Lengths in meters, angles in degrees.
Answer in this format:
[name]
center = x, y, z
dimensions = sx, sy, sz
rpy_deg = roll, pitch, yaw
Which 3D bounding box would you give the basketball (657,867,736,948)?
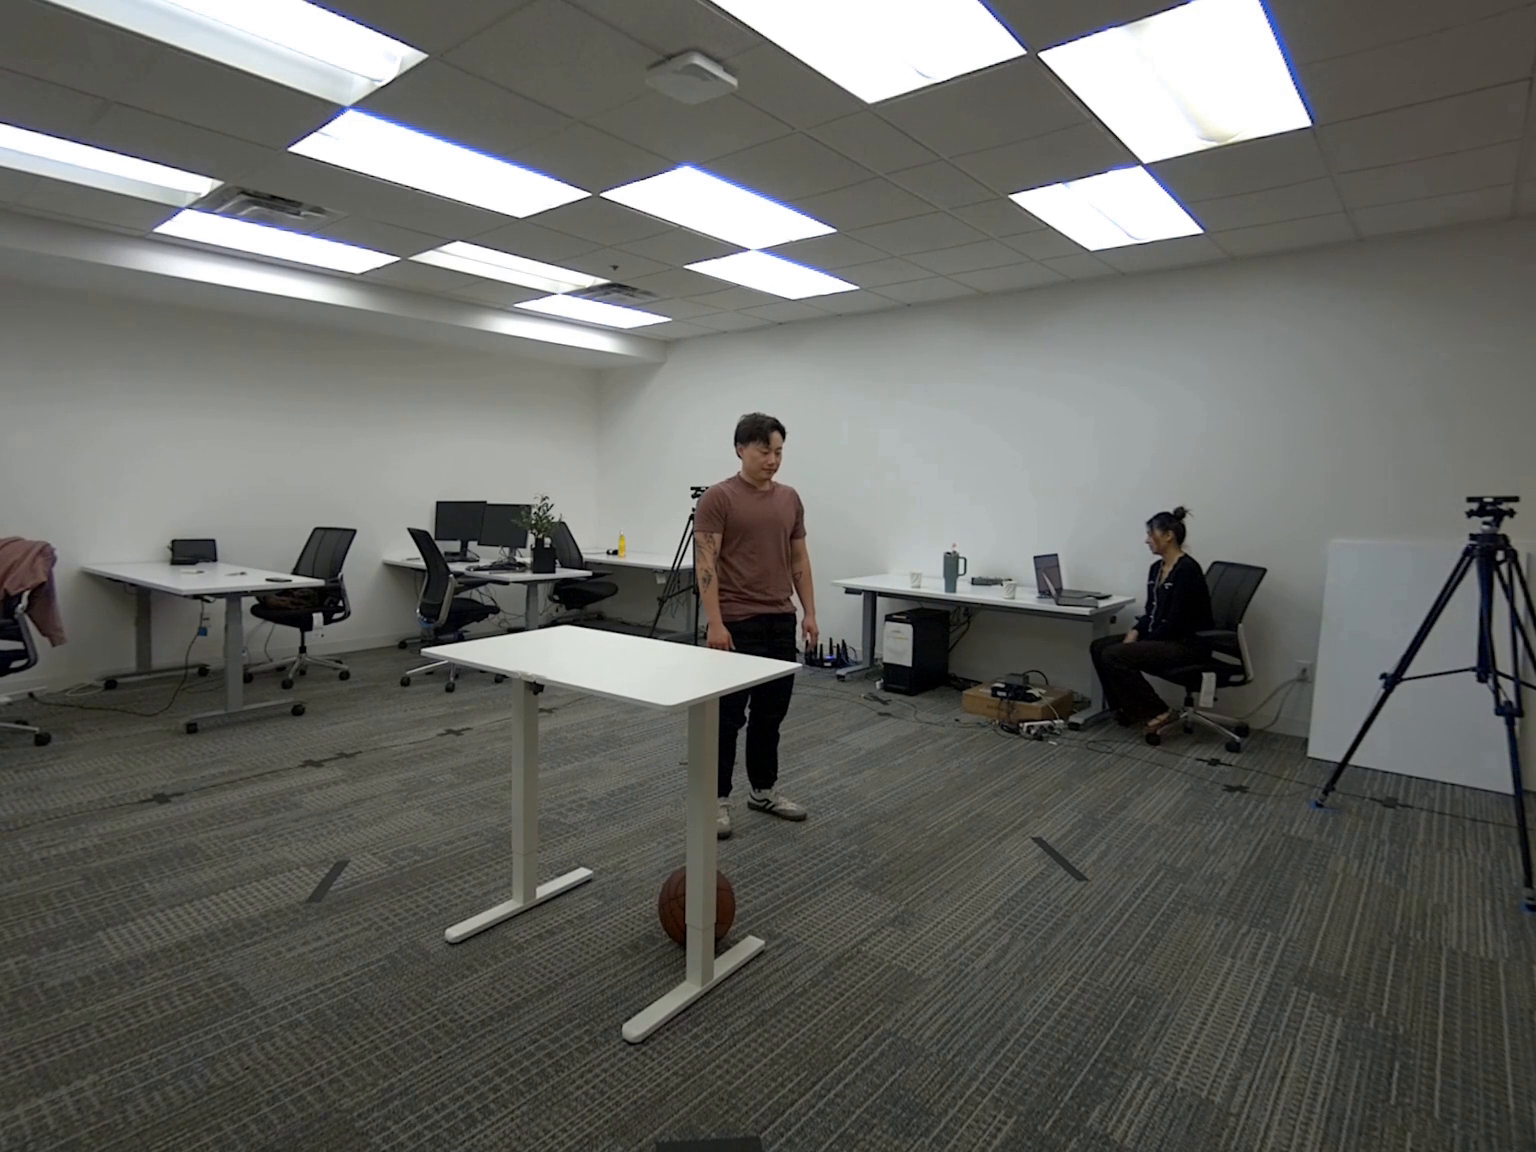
[basketball]
center = -0.222, 1.003, 2.586
dimensions = 0.235, 0.235, 0.237
rpy_deg = 1, 4, -2
